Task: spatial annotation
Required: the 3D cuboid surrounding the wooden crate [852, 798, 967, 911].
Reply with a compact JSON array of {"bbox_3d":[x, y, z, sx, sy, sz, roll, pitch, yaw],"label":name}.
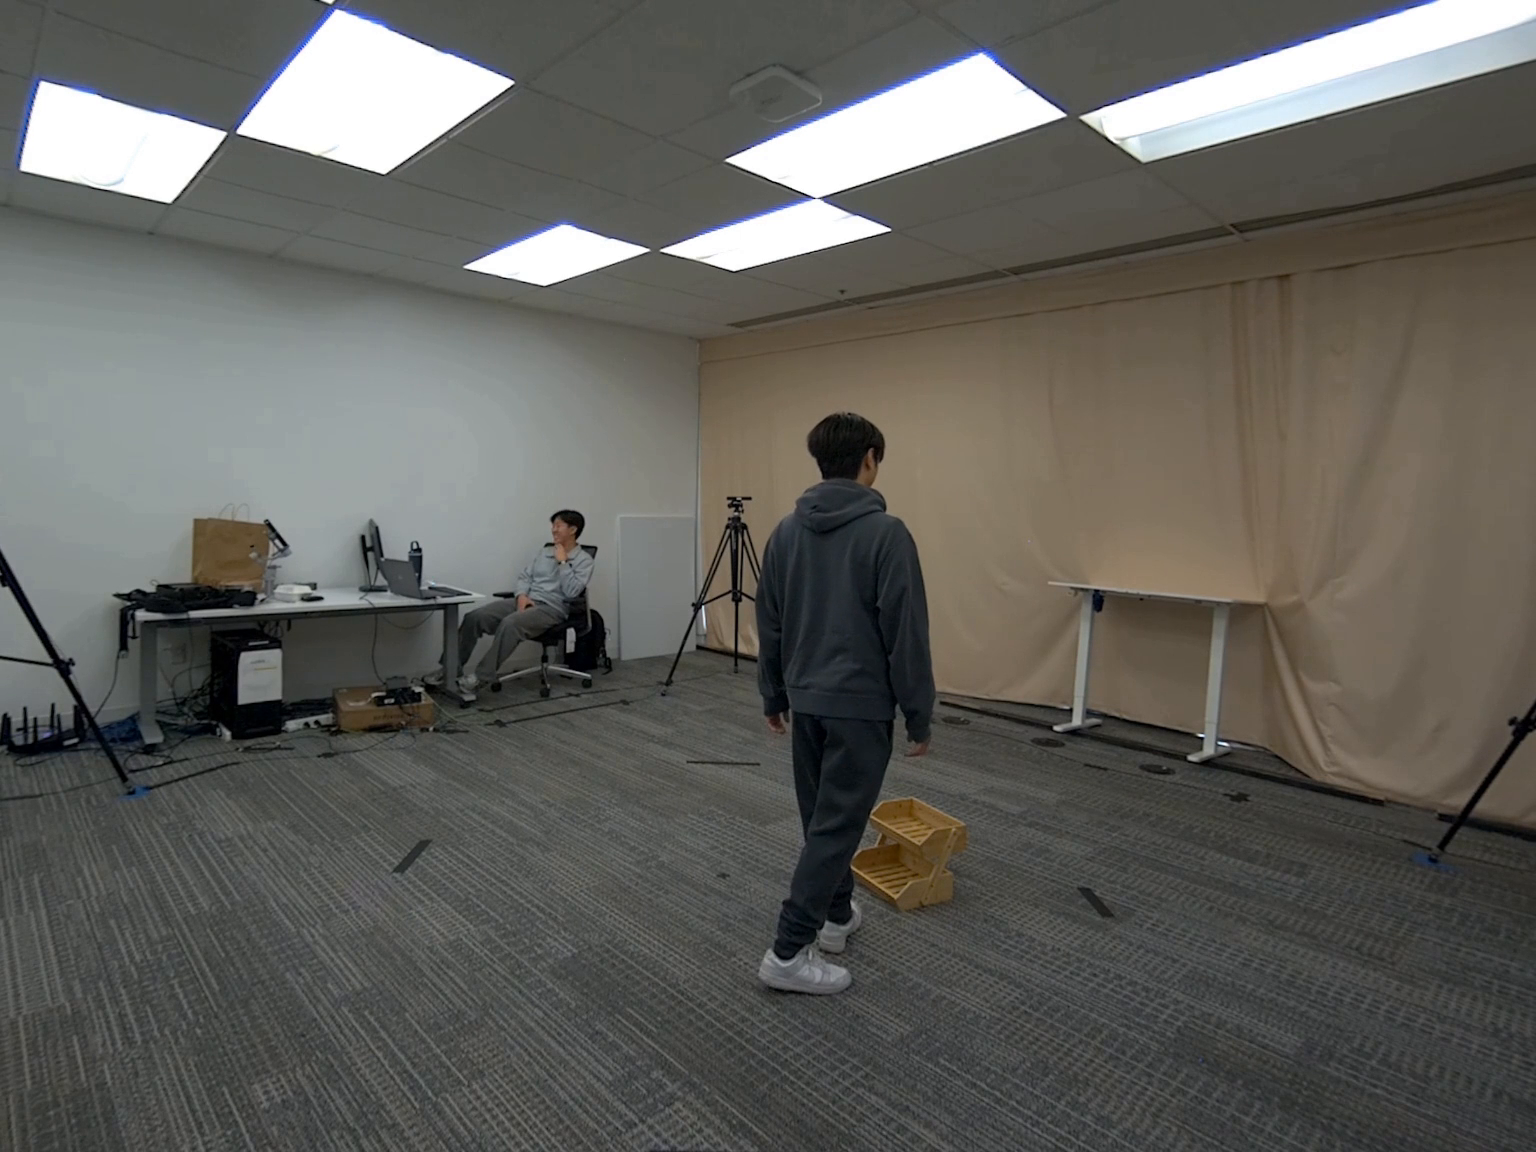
[{"bbox_3d":[0.492,0.992,3.047,0.296,0.273,0.332,0,4,-29],"label":"wooden crate"}]
